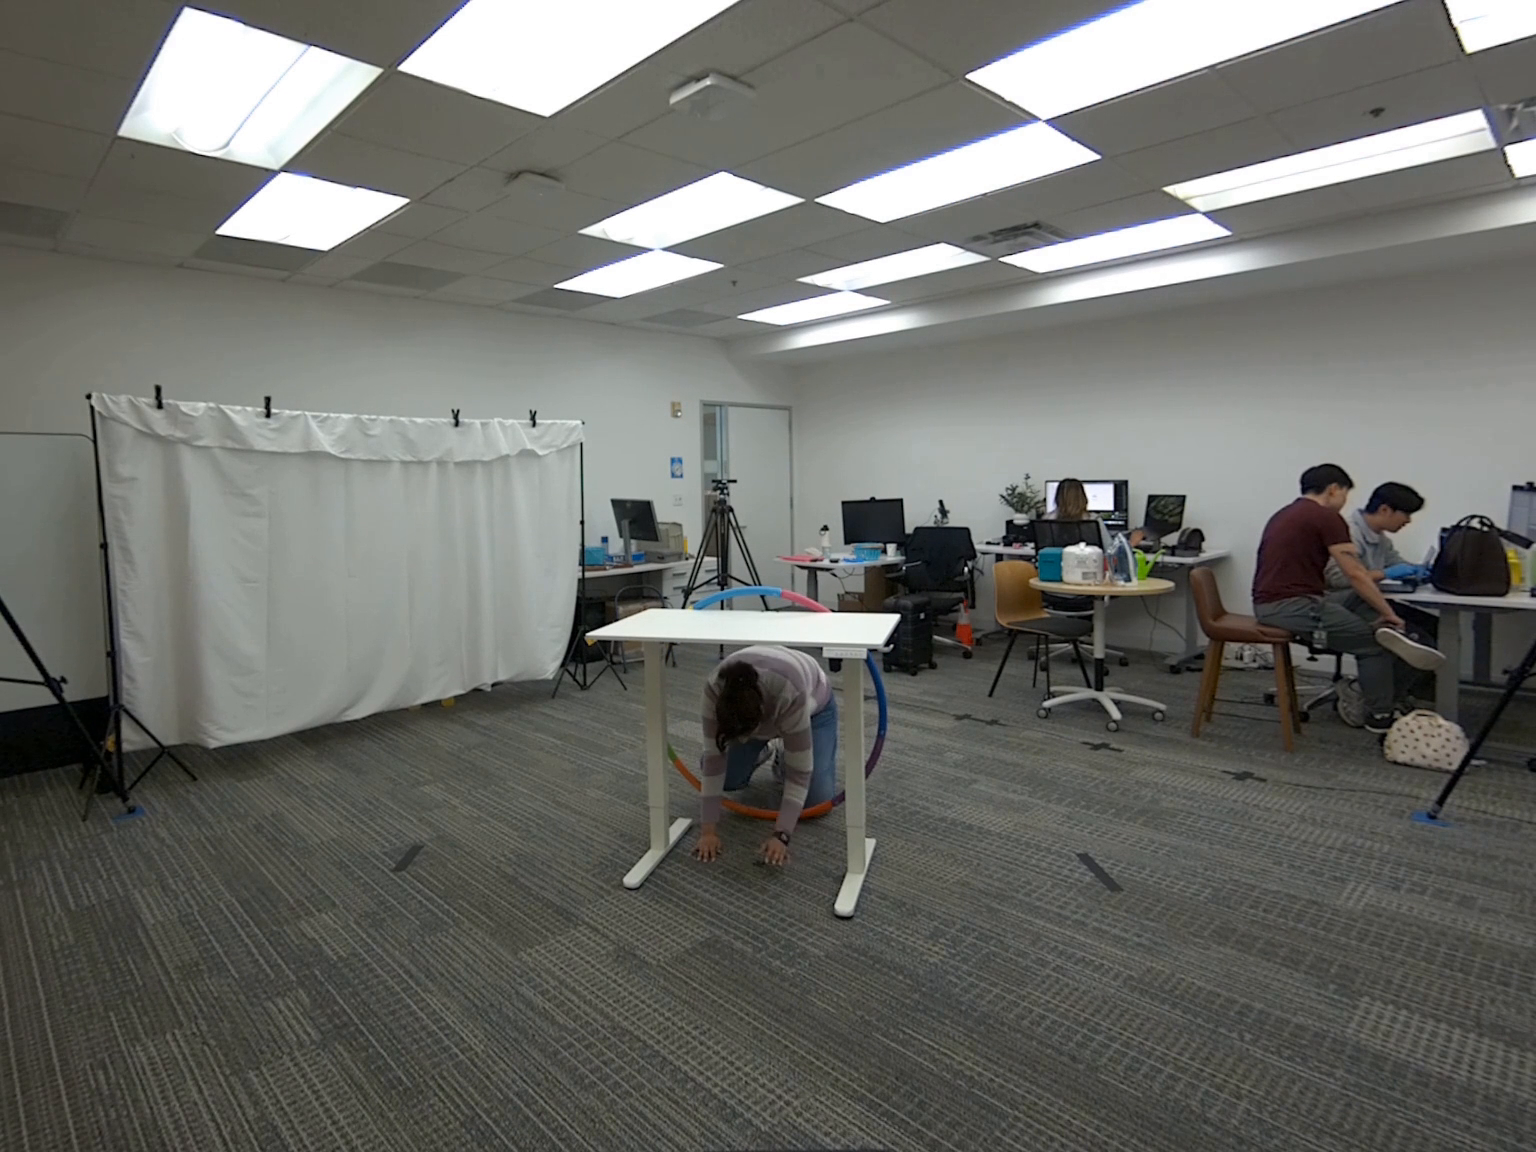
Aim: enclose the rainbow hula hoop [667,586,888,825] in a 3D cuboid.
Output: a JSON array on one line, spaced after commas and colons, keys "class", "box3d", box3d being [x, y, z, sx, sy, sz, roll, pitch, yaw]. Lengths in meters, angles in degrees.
[{"class": "rainbow hula hoop", "box3d": [-0.016, 0.527, 3.437, 0.994, 0.968, 0.035, 1, 11, 17]}]
